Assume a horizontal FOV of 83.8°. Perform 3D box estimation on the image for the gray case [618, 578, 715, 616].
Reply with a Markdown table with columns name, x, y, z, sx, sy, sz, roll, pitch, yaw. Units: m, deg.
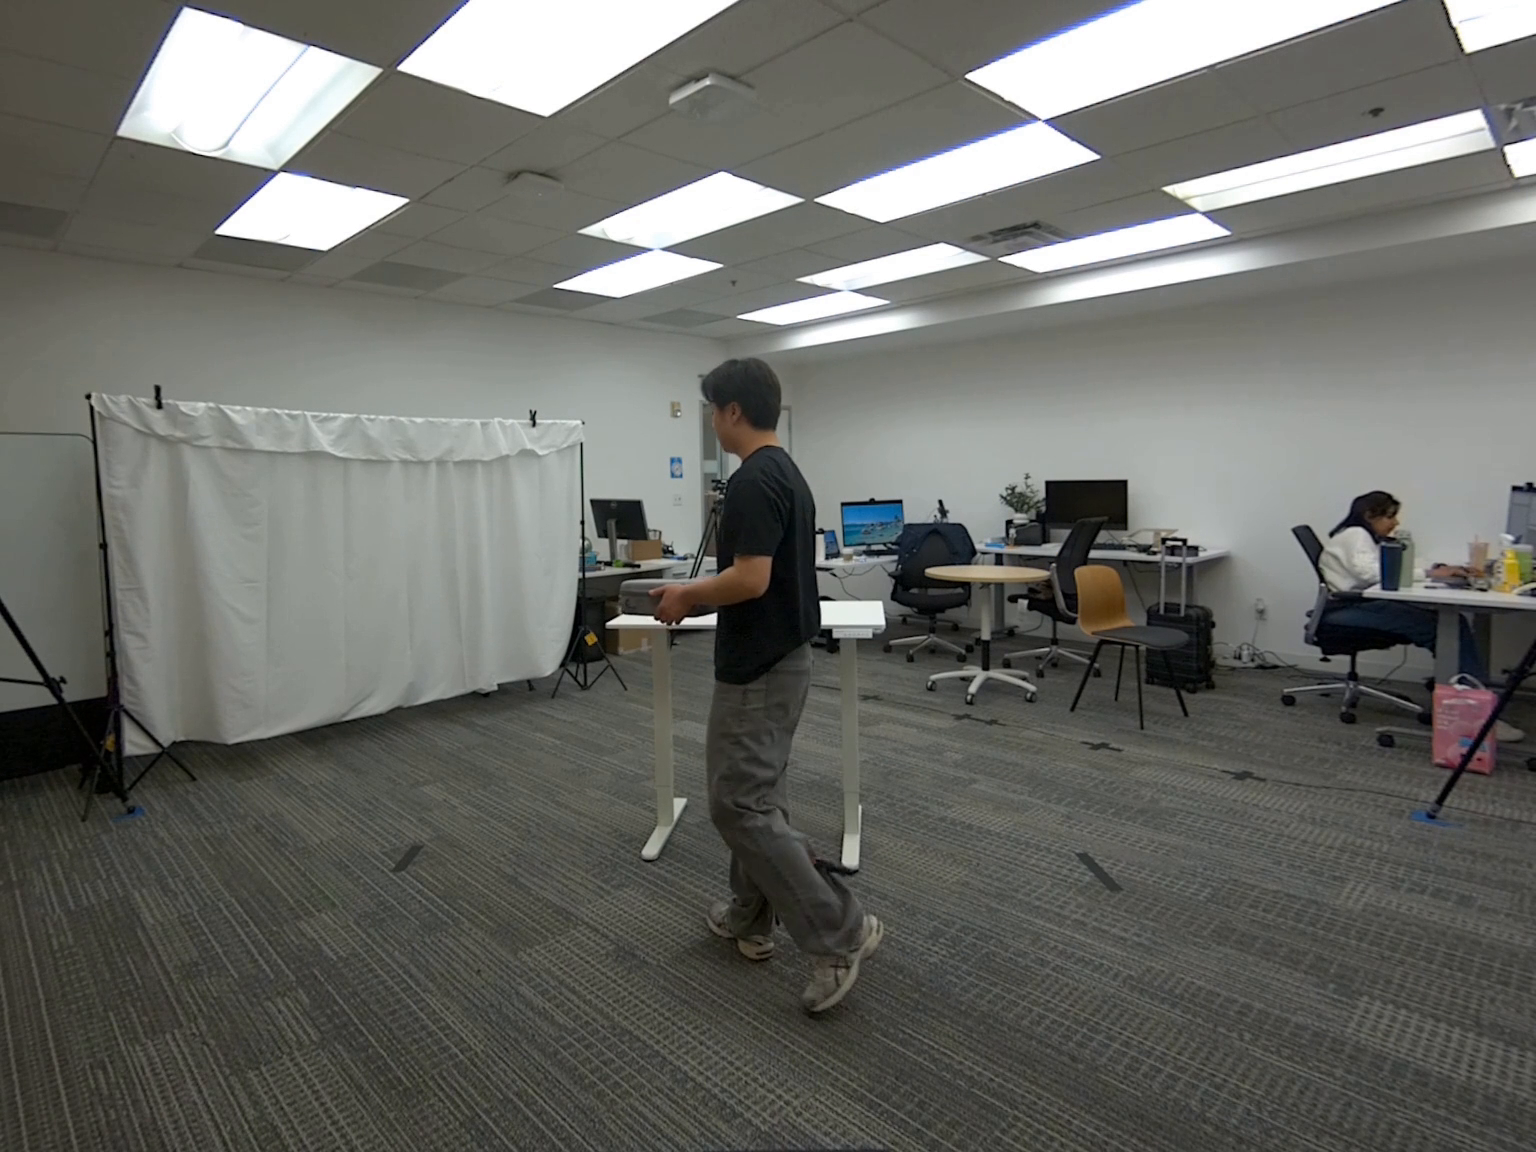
| name | x | y | z | sx | sy | sz | roll | pitch | yaw |
| --- | --- | --- | --- | --- | --- | --- | --- | --- | --- |
| gray case | -0.283 | 0.068 | 2.528 | 0.269 | 0.103 | 0.280 | 1 | 1 | 25 |
